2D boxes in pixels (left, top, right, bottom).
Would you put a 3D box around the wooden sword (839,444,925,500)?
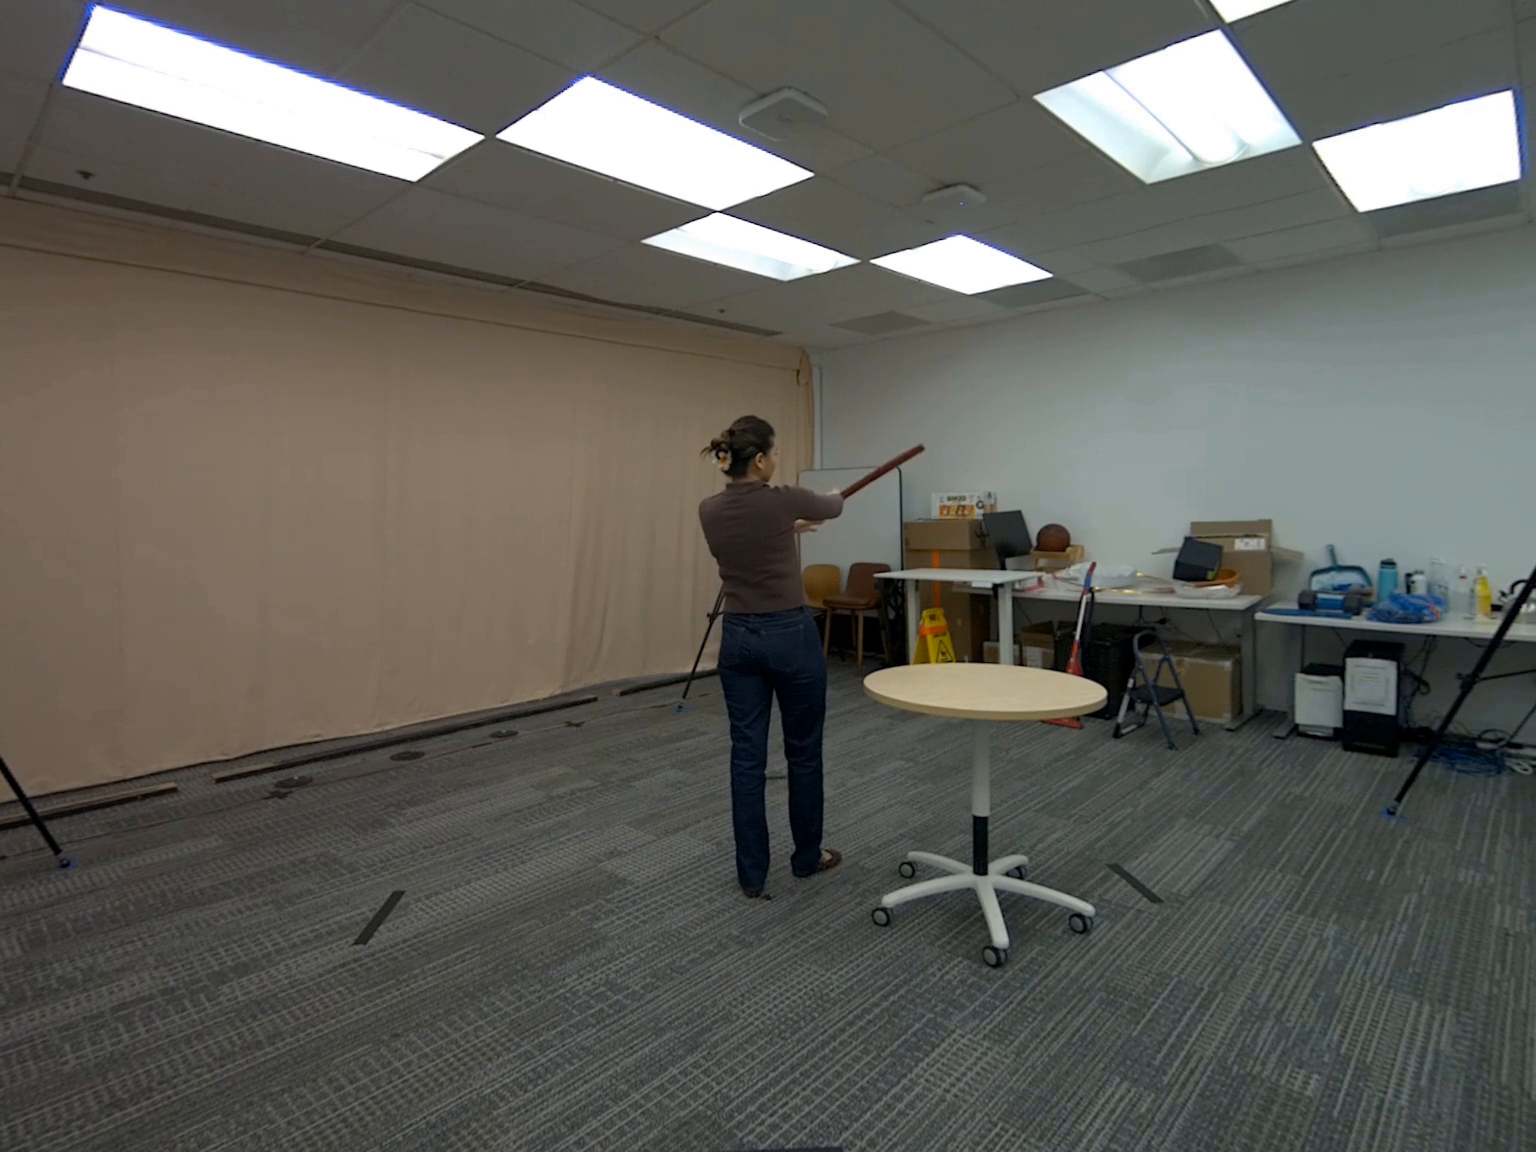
[{"bbox_3d":[0.207,-0.258,3.529,1.037,0.051,0.024,-35,-3,29],"label":"wooden sword"}]
